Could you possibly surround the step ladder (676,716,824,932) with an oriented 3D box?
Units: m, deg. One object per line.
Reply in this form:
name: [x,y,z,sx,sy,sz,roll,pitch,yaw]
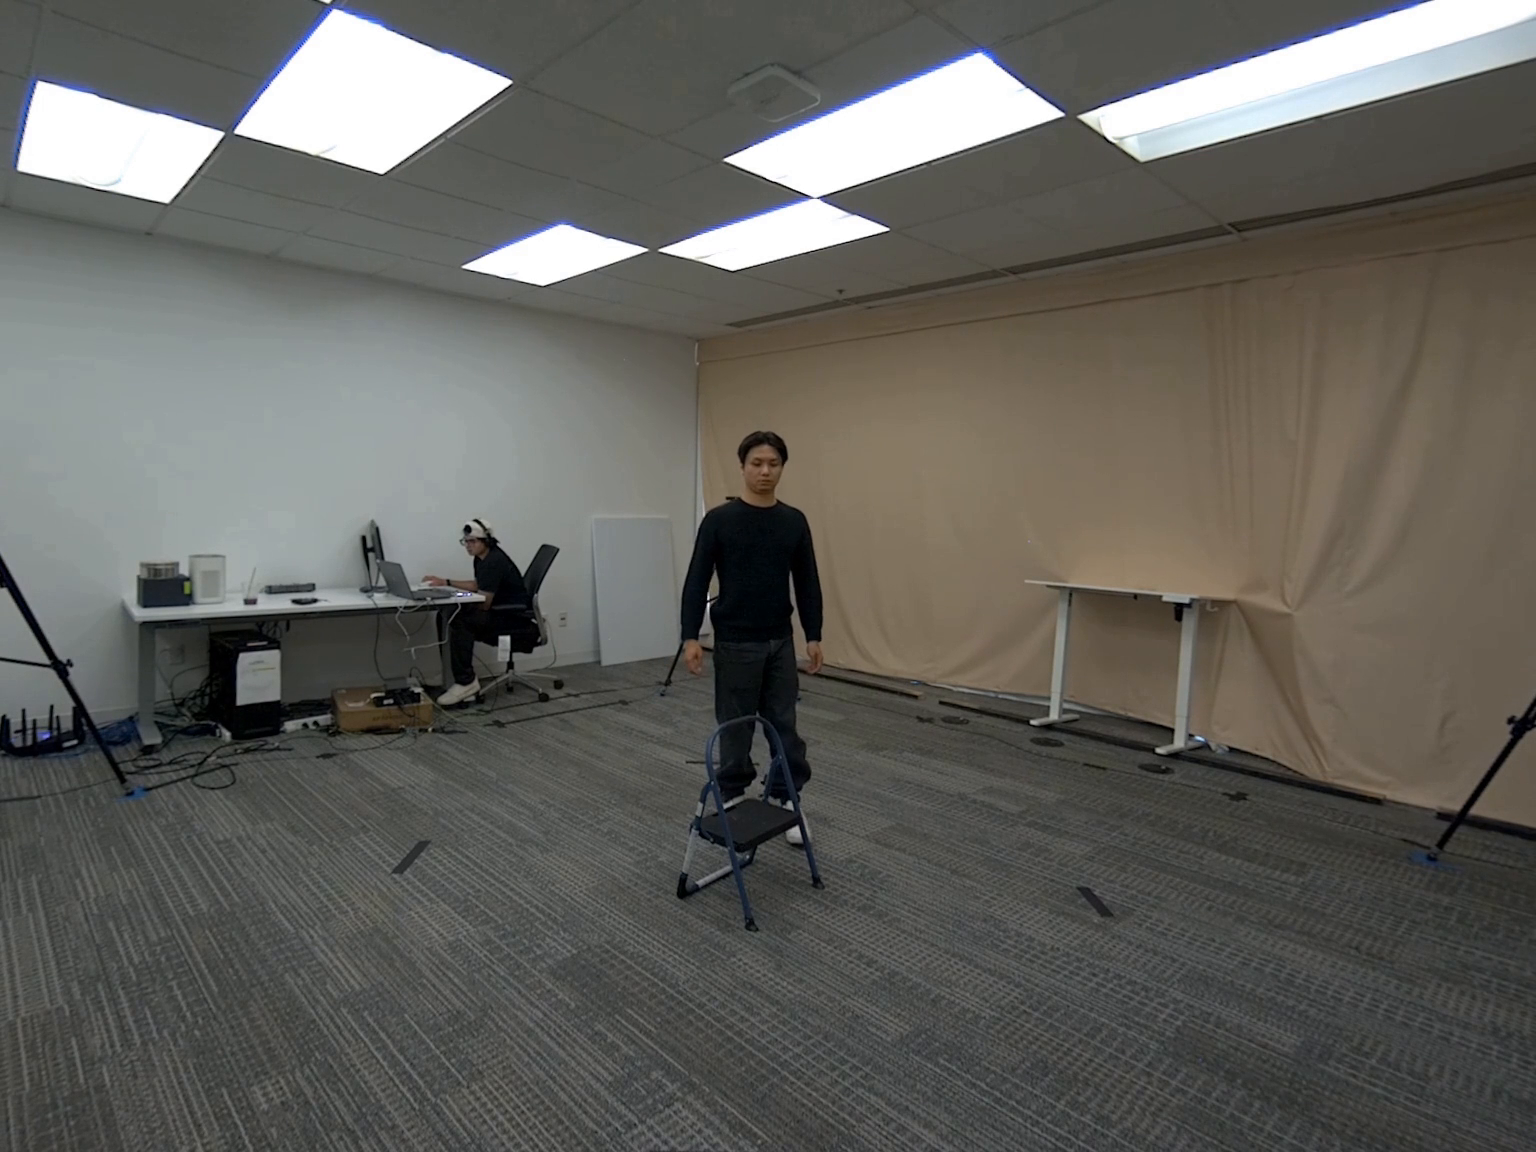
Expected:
step ladder: [-0.060,0.819,2.958,0.358,0.604,0.421,4,4,36]
